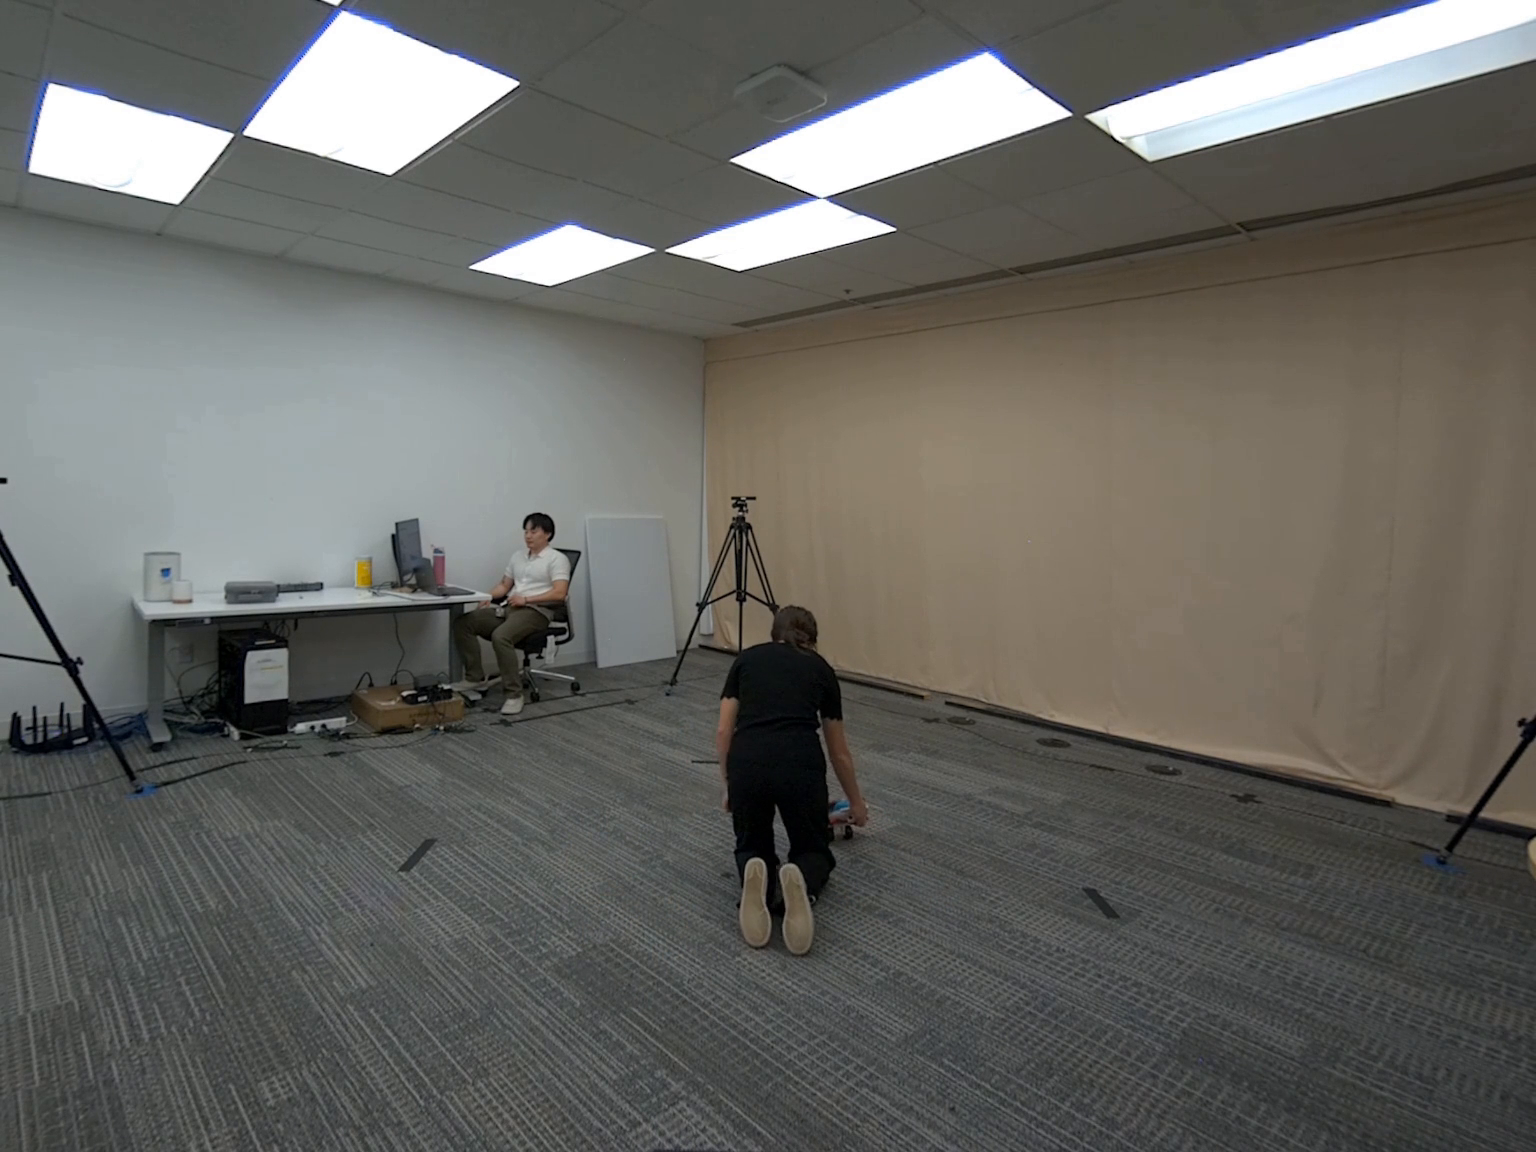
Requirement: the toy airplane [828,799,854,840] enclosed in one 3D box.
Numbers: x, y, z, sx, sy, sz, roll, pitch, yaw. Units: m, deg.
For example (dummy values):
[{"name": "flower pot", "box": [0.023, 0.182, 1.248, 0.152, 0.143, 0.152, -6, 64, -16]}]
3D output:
[{"name": "toy airplane", "box": [0.307, 0.970, 3.448, 0.260, 0.160, 0.243, -36, -38, 28]}]
